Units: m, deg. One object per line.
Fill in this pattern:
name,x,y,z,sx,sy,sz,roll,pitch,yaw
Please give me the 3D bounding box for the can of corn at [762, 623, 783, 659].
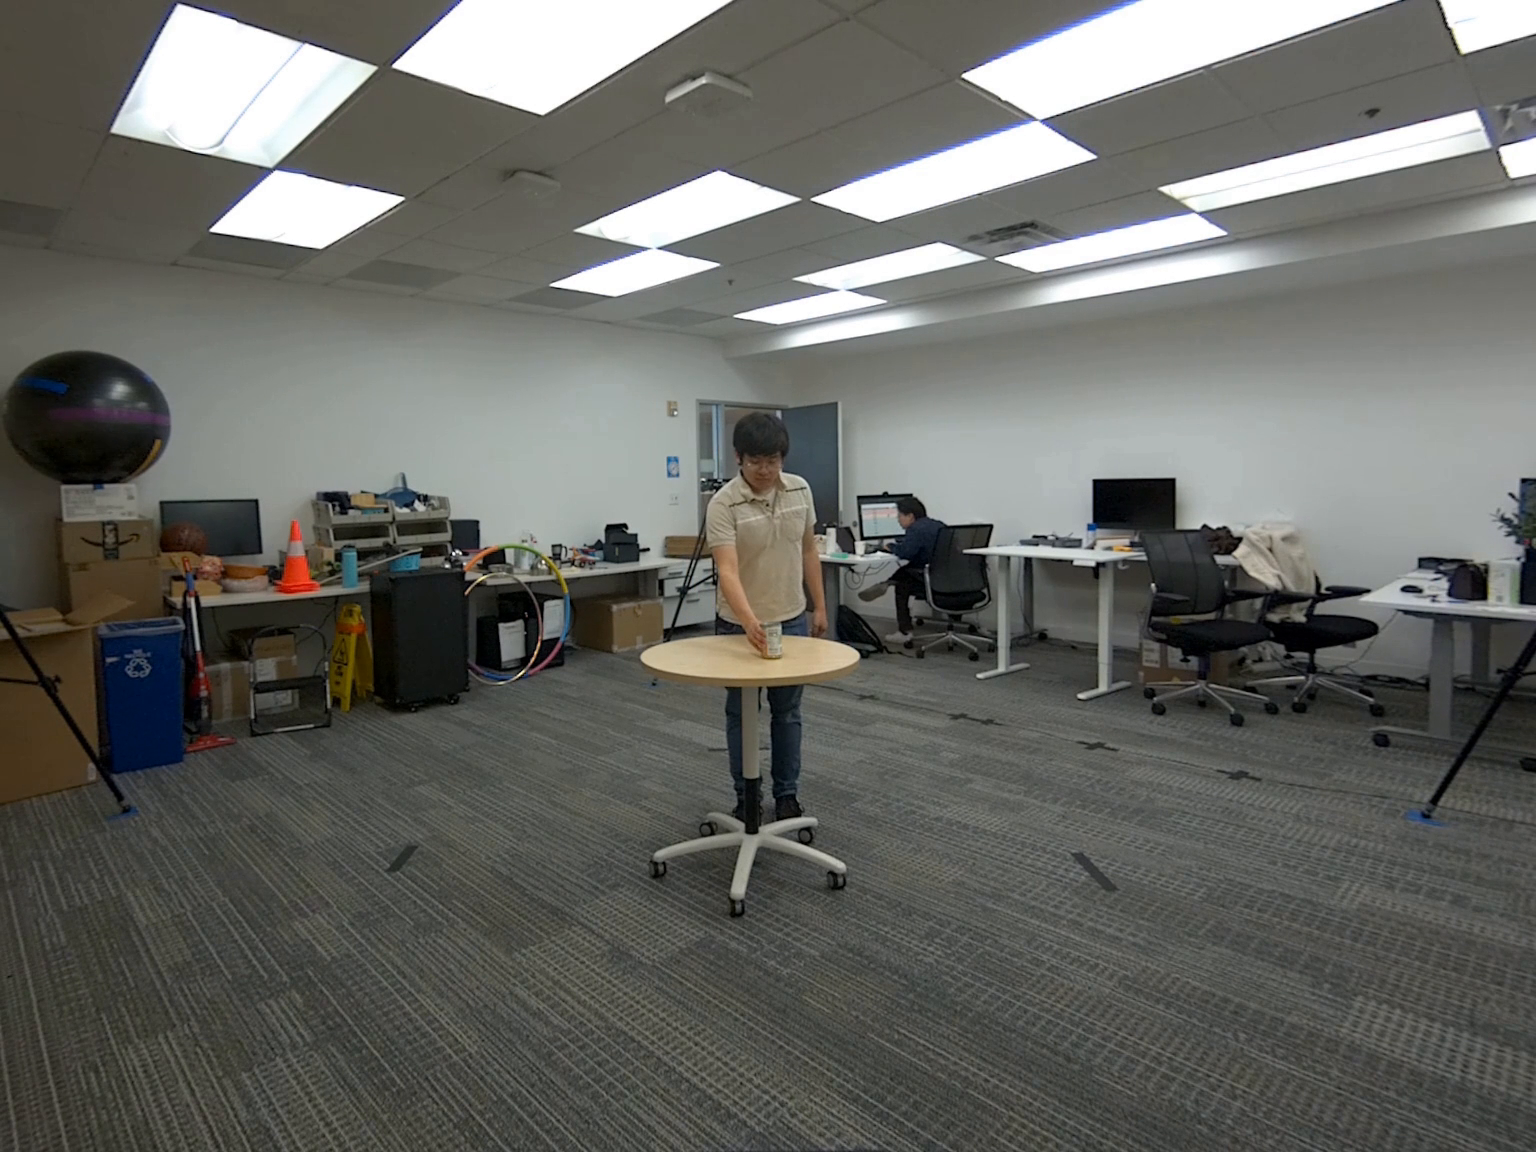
can of corn,0.002,0.216,2.929,0.074,0.111,0.074,-5,3,-1
